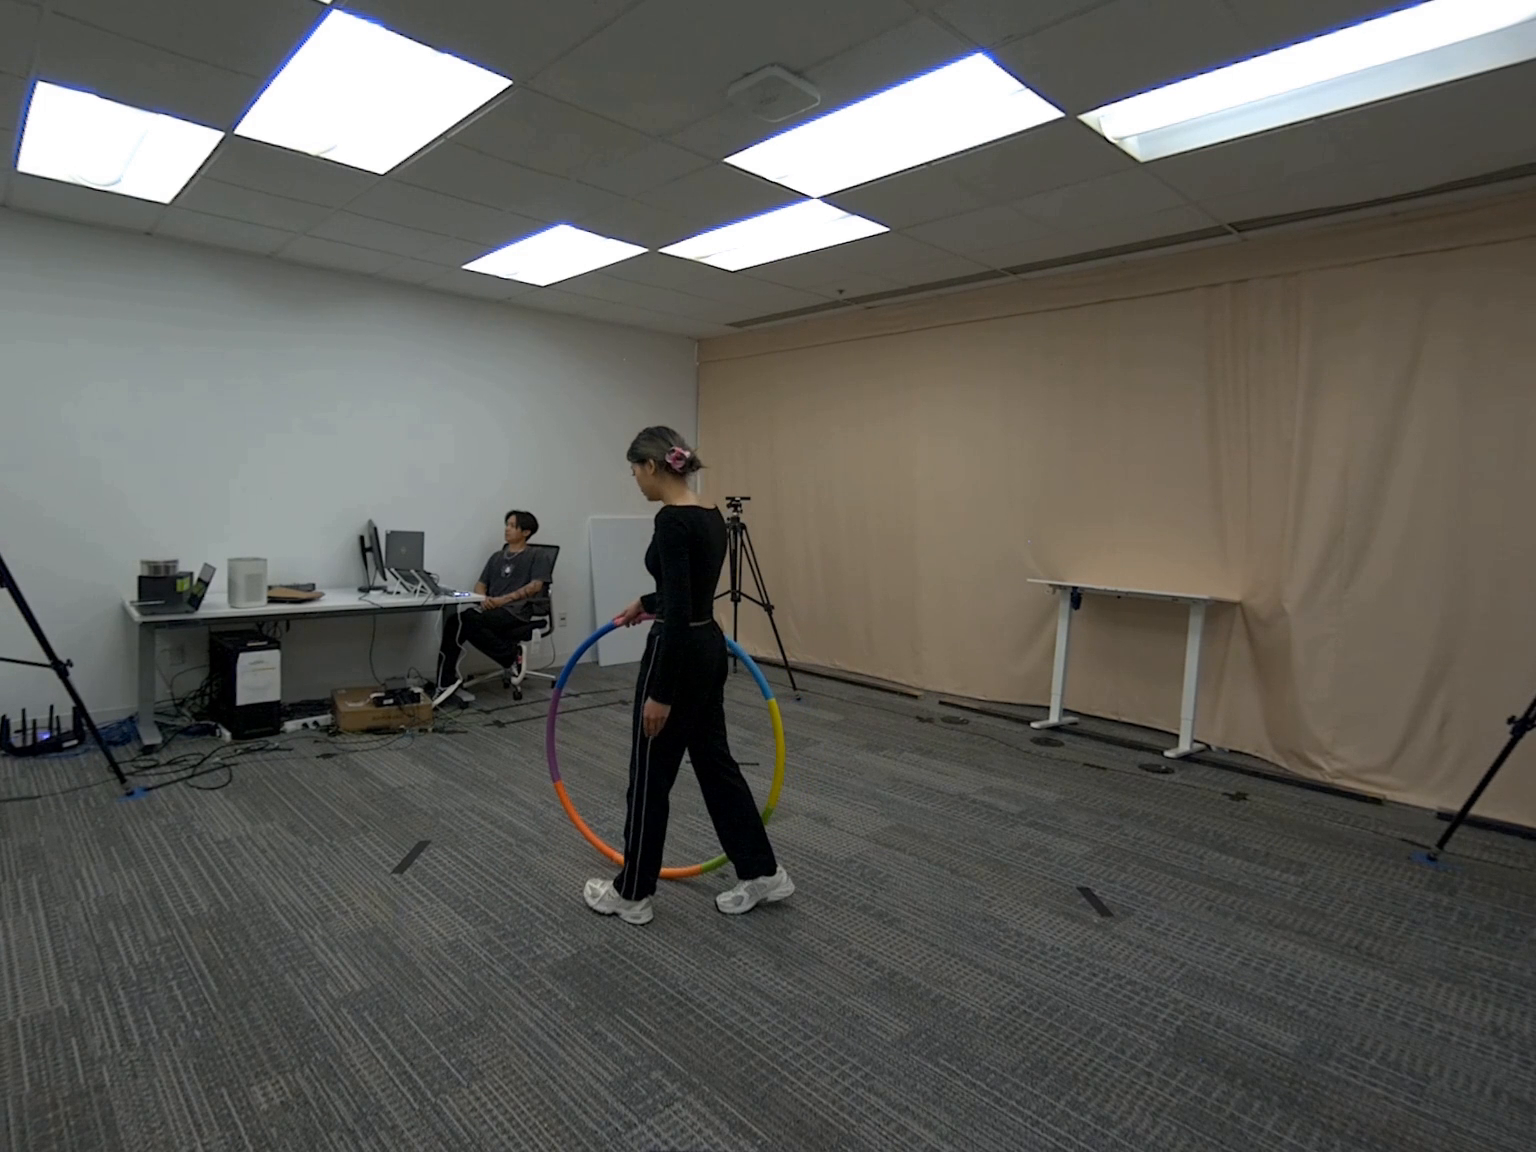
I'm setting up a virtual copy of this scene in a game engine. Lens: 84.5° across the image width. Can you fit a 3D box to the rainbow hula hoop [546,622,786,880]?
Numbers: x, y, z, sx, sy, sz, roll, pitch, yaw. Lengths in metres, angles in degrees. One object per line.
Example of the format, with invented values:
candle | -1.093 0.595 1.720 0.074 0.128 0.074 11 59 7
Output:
rainbow hula hoop | -0.413 0.615 3.108 0.997 0.979 0.035 3 -1 24
